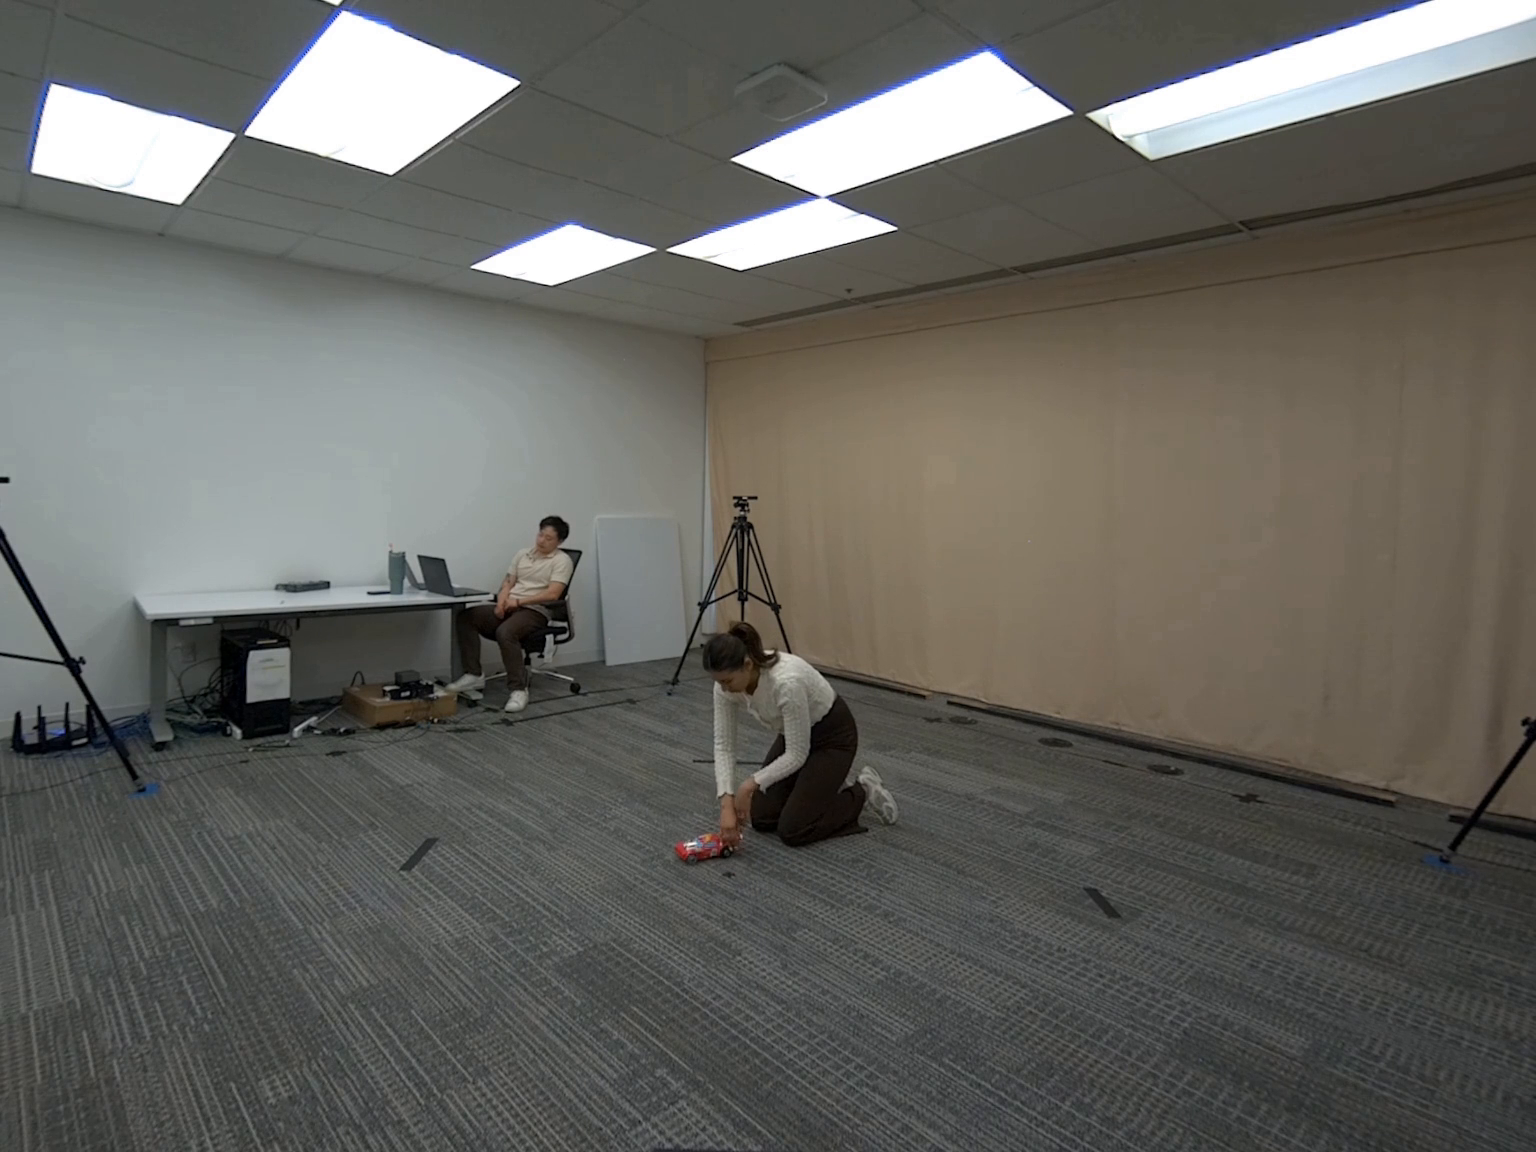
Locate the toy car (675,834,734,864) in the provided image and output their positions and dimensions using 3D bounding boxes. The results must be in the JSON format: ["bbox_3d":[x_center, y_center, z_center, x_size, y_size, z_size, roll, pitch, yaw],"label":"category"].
[{"bbox_3d":[-0.234,1.053,3.266,0.251,0.082,0.133,-13,10,-26],"label":"toy car"}]
